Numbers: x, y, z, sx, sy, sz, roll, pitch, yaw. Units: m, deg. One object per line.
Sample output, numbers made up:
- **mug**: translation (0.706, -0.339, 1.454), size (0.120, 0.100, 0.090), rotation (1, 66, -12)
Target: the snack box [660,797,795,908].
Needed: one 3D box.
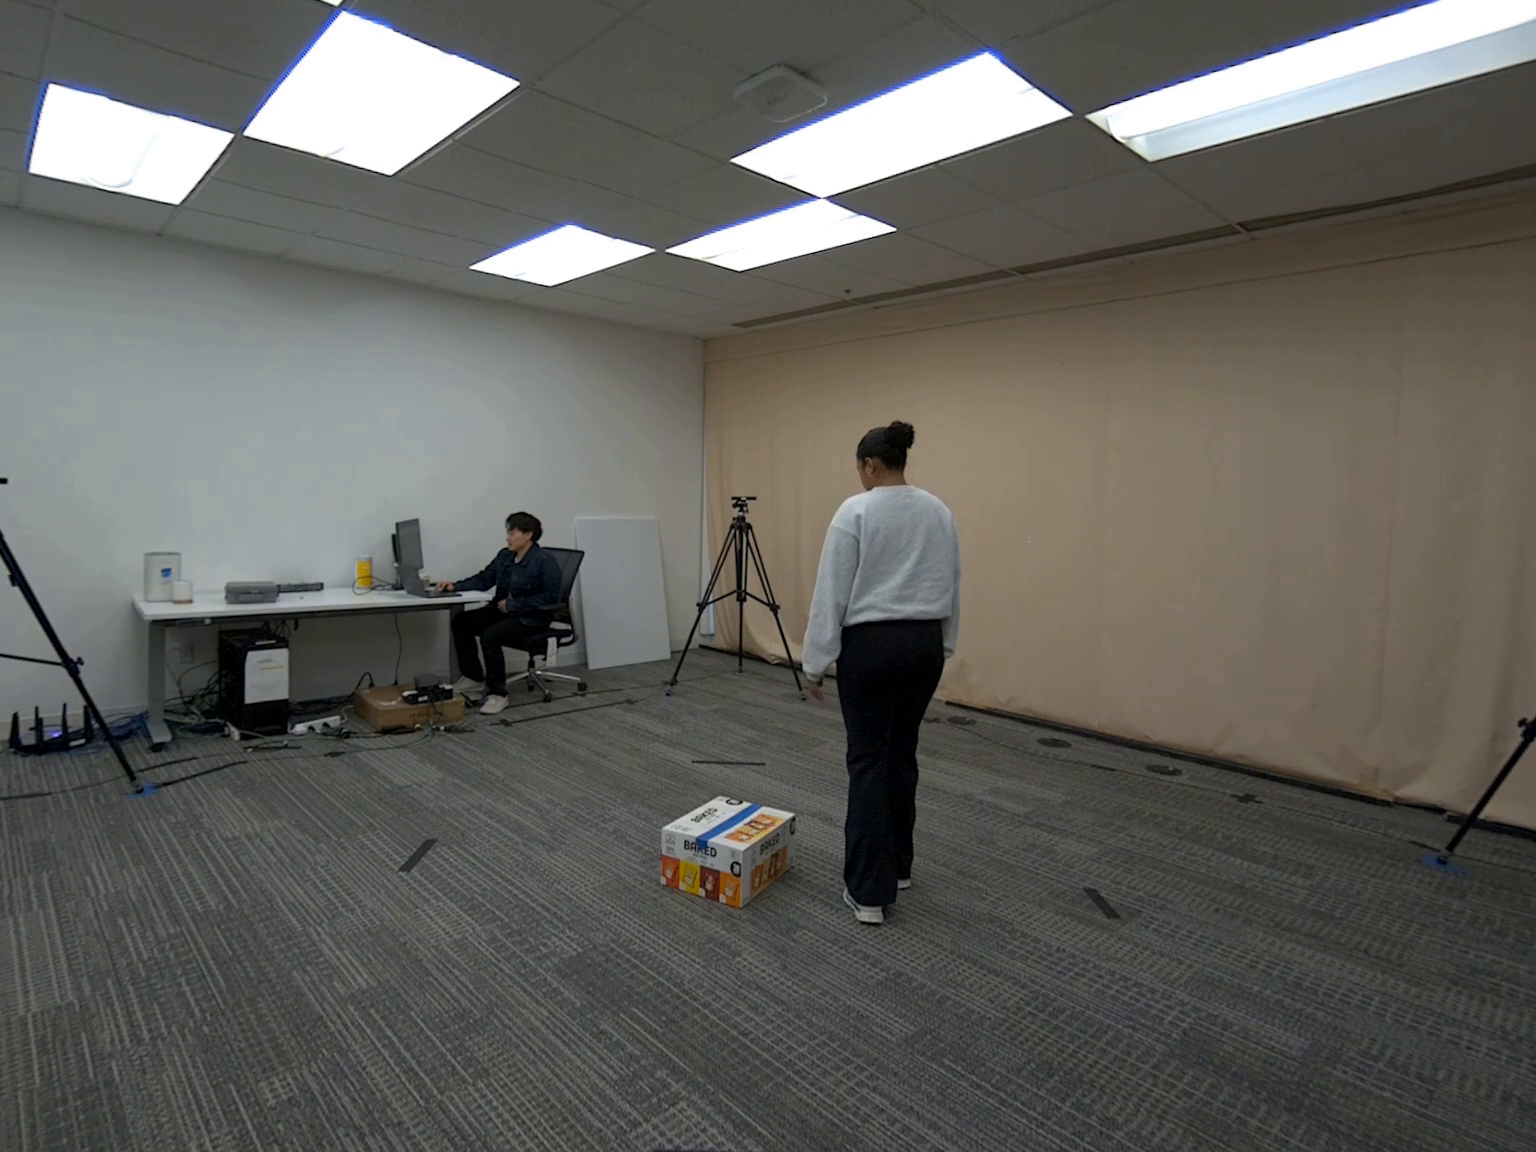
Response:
- **snack box**: translation (-0.145, 1.003, 3.104), size (0.348, 0.205, 0.397), rotation (4, 6, 30)
